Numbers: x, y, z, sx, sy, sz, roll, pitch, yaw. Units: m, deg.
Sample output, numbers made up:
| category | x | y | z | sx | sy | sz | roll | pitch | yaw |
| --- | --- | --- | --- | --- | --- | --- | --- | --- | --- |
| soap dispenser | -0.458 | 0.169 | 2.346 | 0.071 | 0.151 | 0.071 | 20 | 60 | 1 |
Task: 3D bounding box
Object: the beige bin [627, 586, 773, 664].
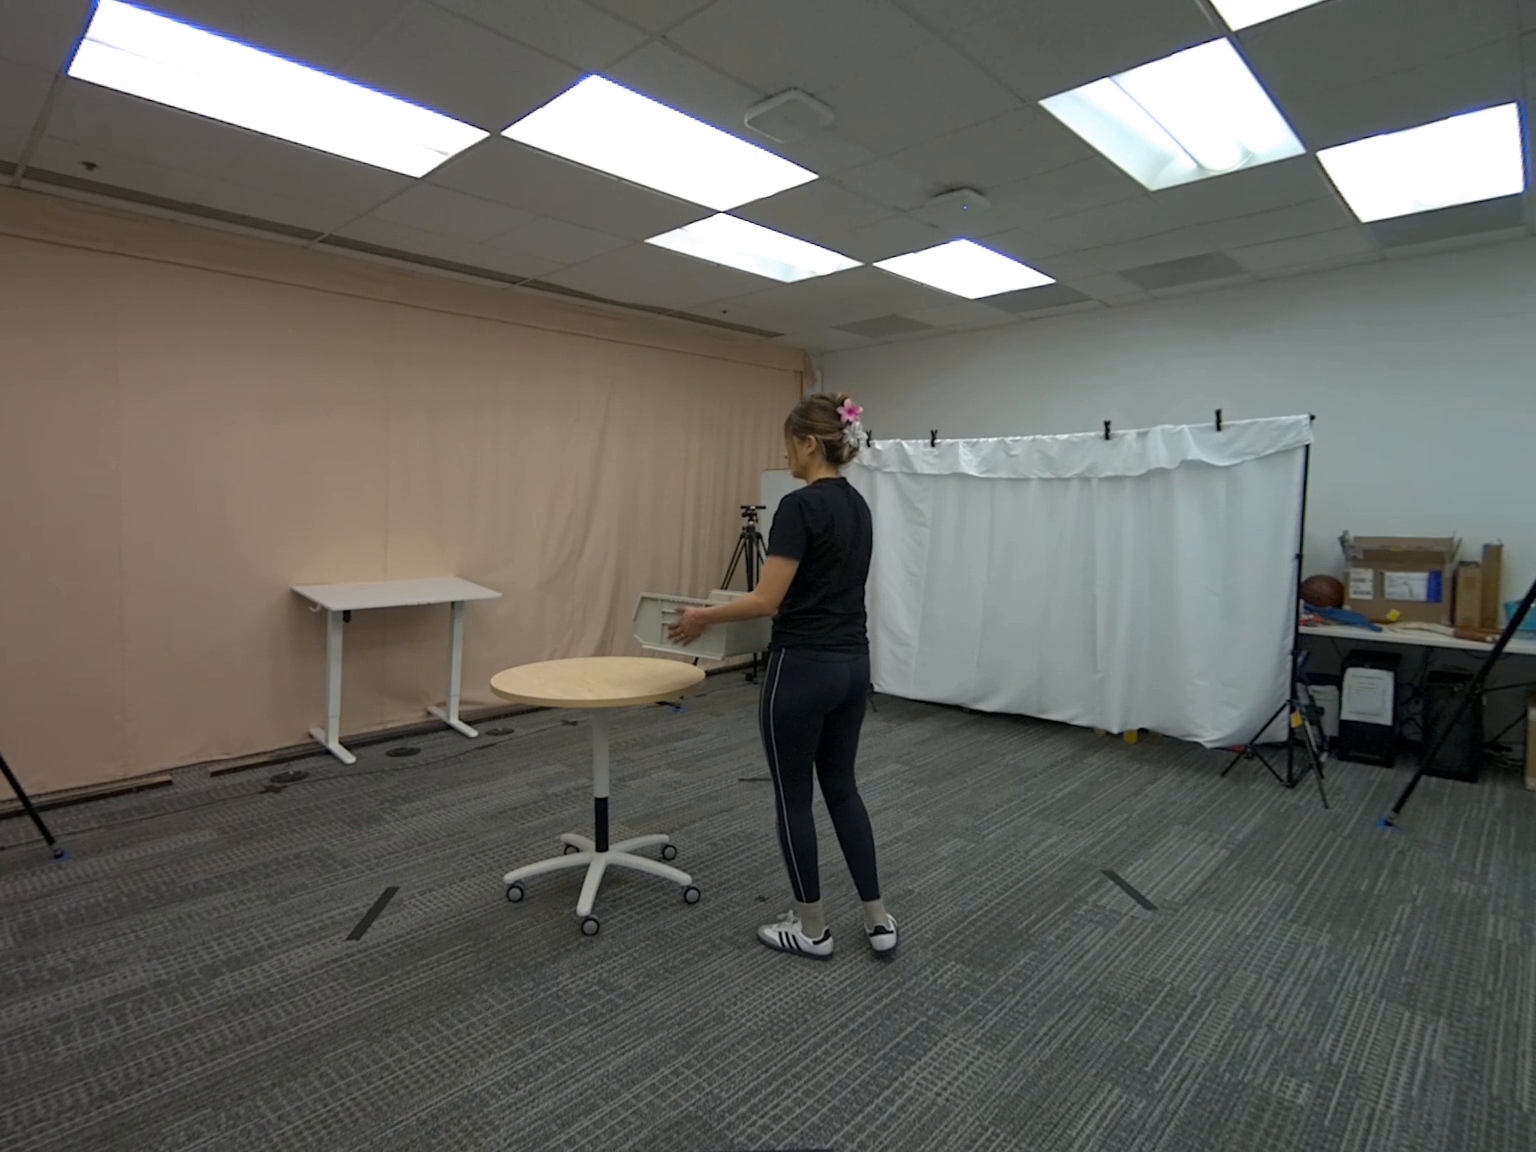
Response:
| category | x | y | z | sx | sy | sz | roll | pitch | yaw |
| --- | --- | --- | --- | --- | --- | --- | --- | --- | --- |
| beige bin | -0.181 | 0.150 | 2.825 | 0.389 | 0.189 | 0.409 | 6 | 3 | 34 |
